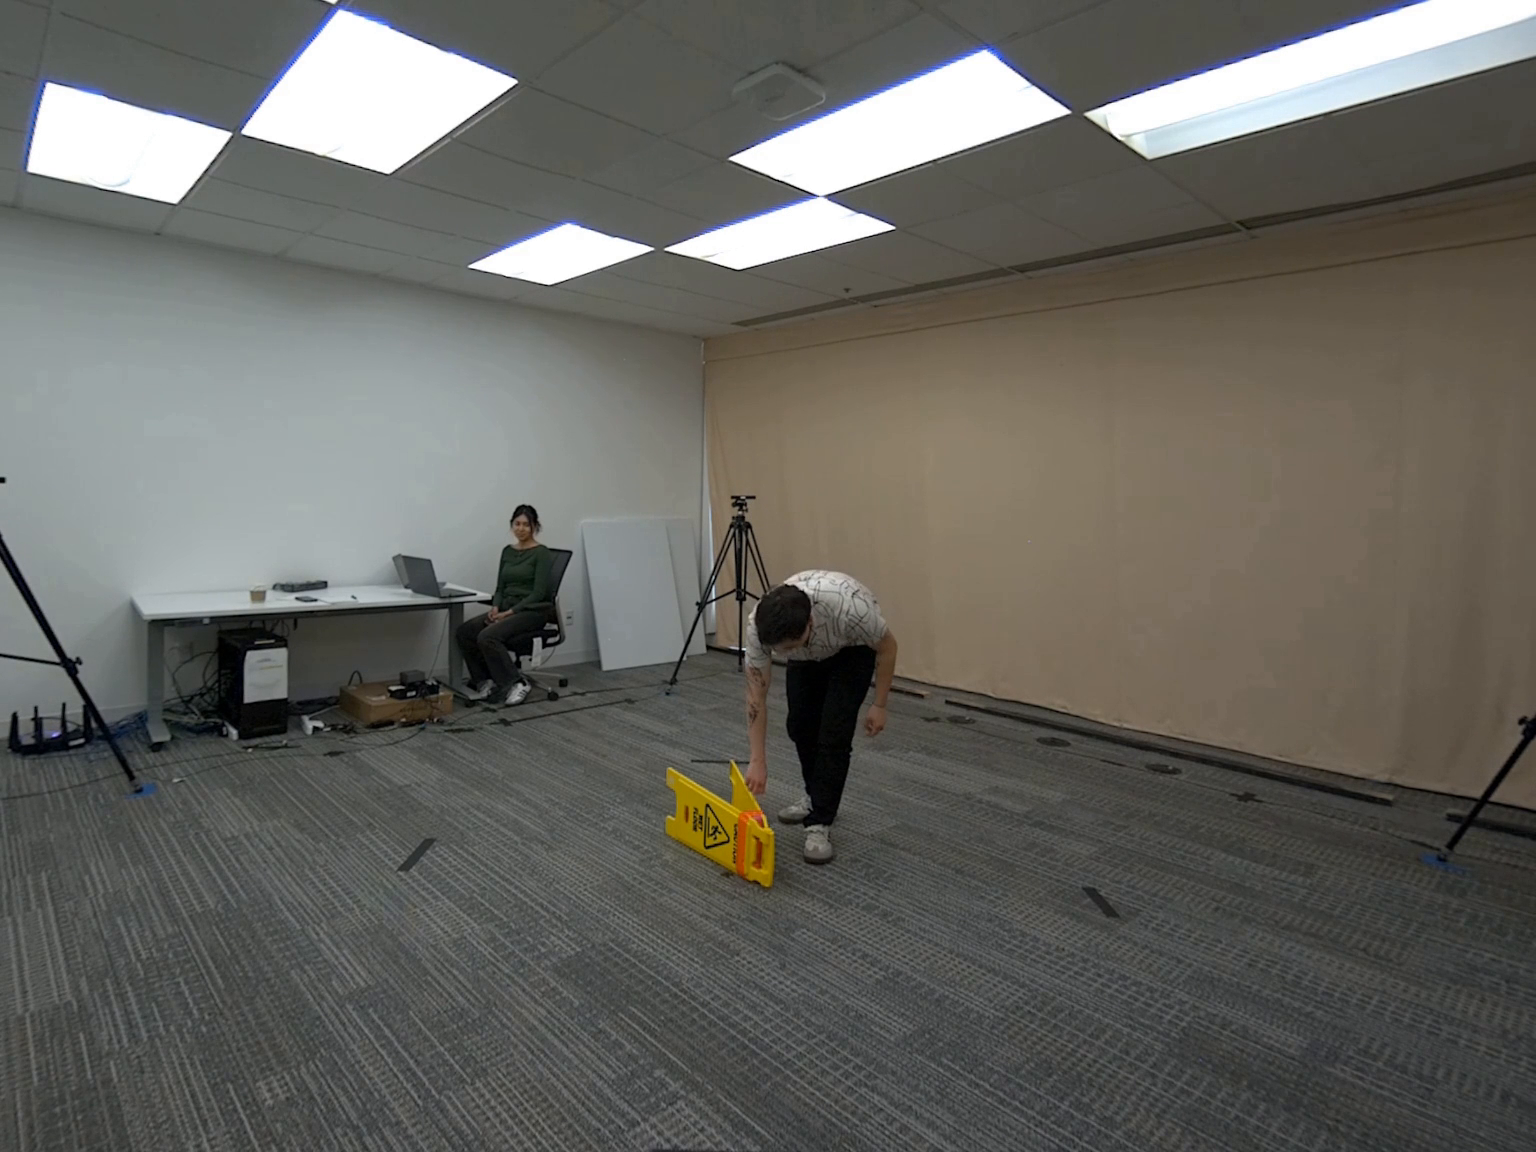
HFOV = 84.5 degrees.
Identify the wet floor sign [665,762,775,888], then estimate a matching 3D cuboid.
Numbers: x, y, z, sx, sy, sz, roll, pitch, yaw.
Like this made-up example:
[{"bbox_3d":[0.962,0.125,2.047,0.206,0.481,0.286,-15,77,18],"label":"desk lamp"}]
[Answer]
[{"bbox_3d":[-0.143,0.957,3.237,0.284,0.281,0.661,0,7,-28],"label":"wet floor sign"}]
